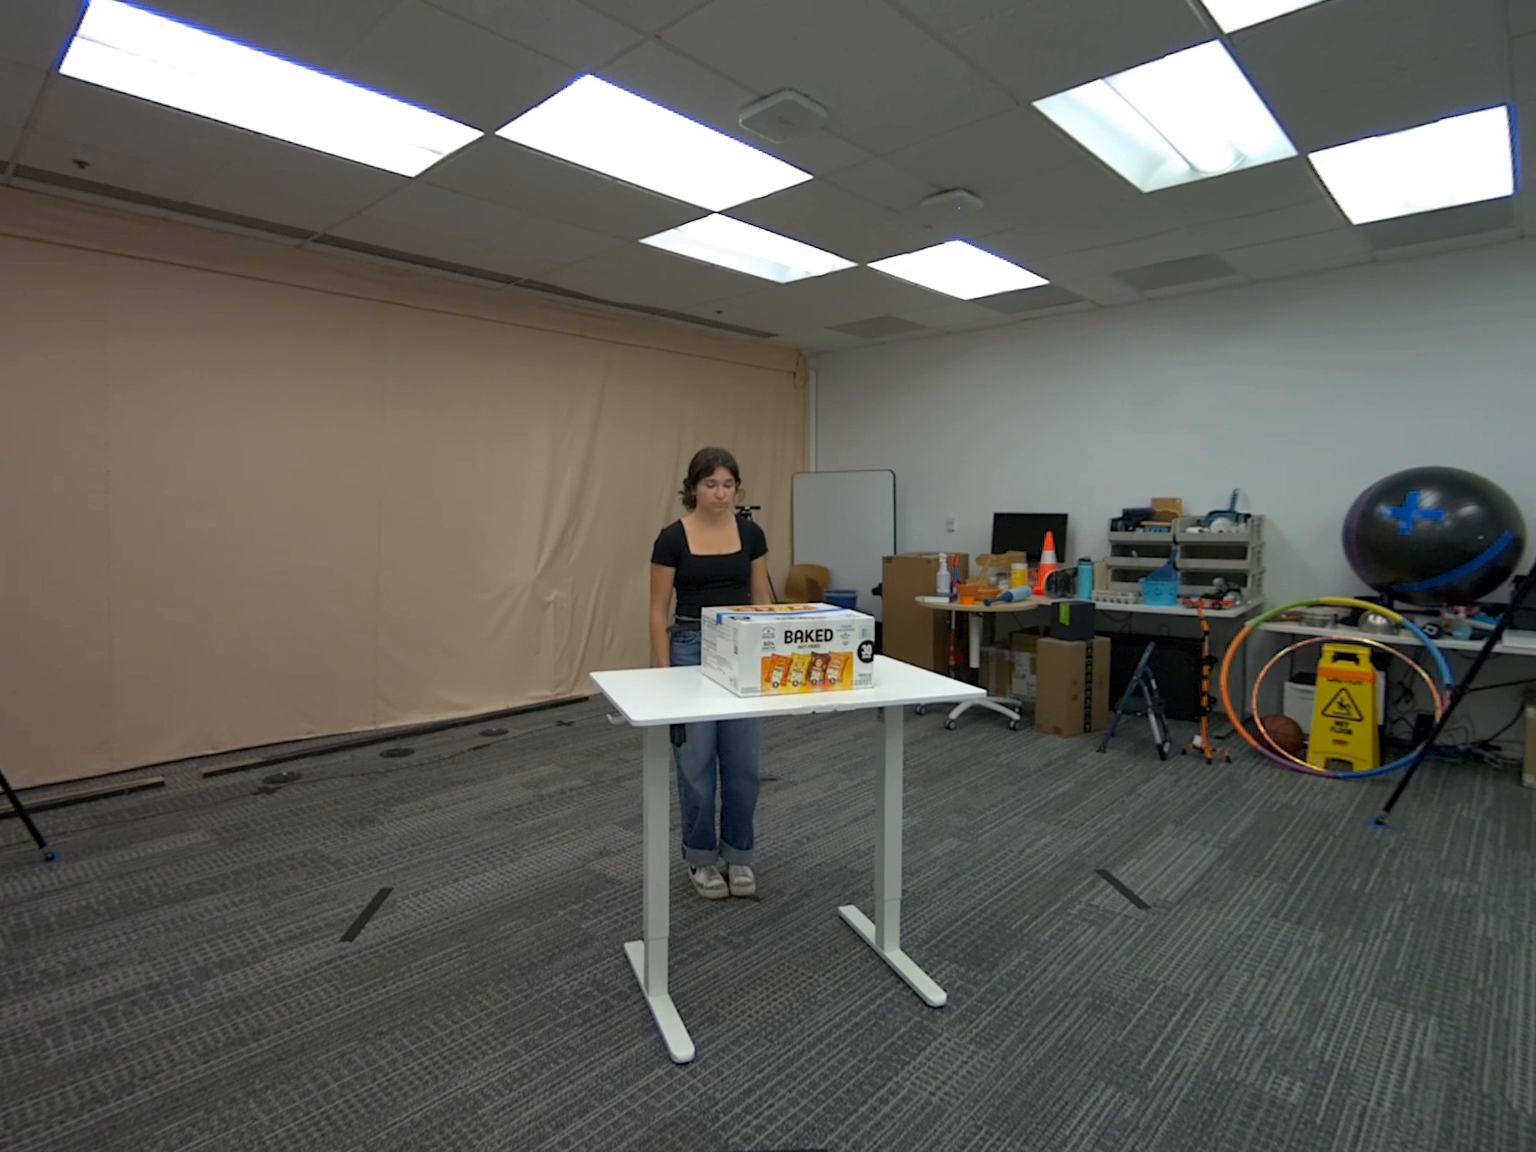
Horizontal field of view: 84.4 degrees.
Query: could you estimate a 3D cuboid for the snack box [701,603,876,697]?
[{"bbox_3d":[0.050,0.205,2.453,0.397,0.205,0.348,-1,4,-20],"label":"snack box"}]
